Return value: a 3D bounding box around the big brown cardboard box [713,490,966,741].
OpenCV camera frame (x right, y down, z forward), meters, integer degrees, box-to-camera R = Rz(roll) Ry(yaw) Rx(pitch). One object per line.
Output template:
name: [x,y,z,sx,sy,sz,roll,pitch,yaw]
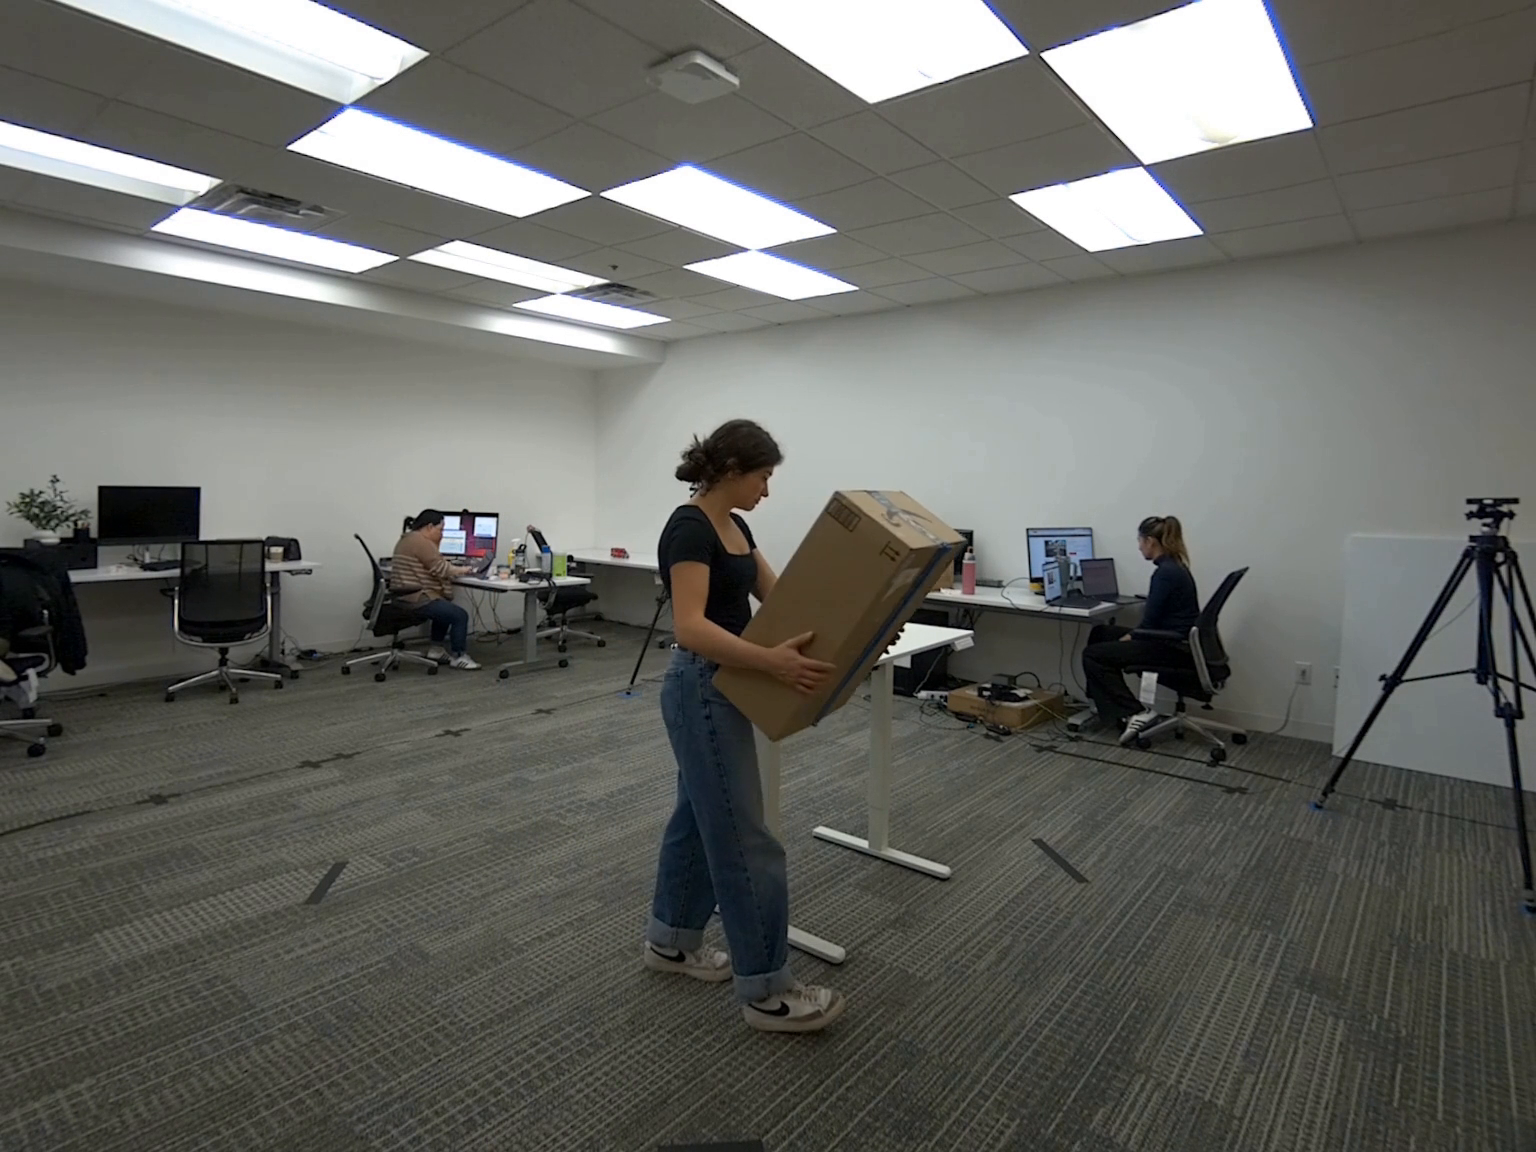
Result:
big brown cardboard box: [0.175,0.079,2.065,0.240,0.586,0.407,42,23,20]
